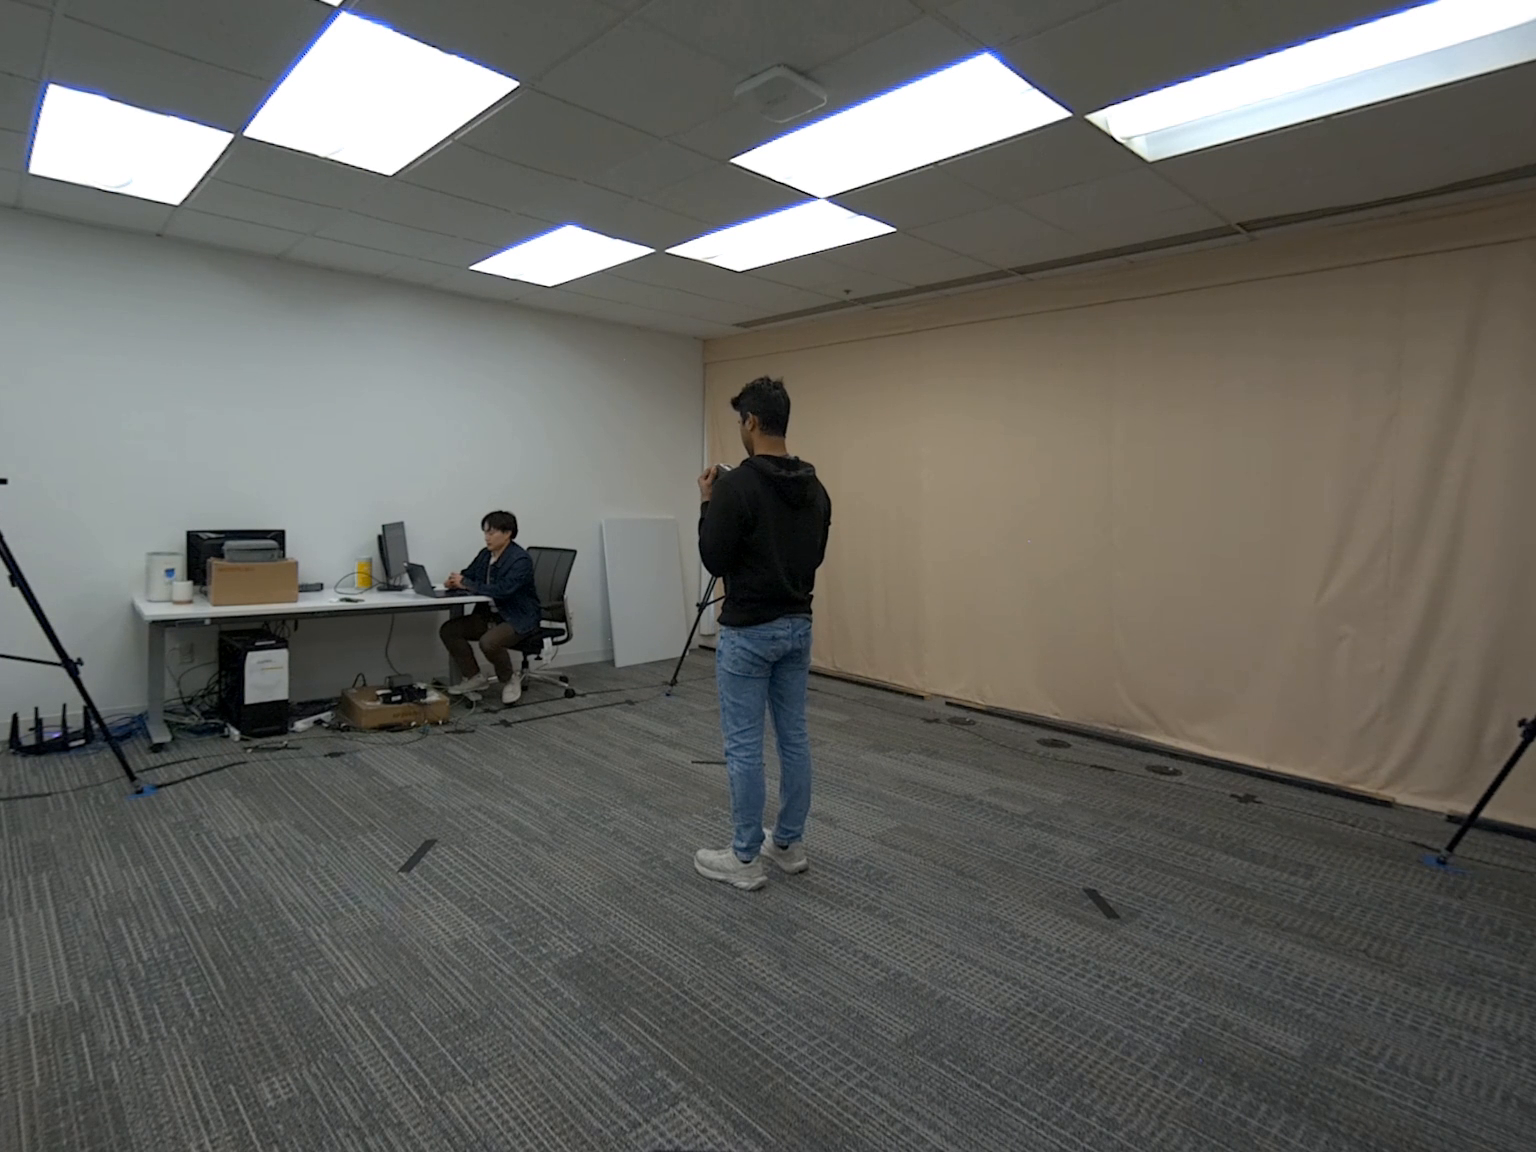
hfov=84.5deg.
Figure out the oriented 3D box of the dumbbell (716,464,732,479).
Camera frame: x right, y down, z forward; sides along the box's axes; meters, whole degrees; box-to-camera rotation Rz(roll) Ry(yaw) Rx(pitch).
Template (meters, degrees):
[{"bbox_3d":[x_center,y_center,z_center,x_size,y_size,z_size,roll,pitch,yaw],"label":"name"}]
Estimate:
[{"bbox_3d":[-0.068,-0.344,3.156,0.287,0.108,0.127,-3,35,-42],"label":"dumbbell"}]
